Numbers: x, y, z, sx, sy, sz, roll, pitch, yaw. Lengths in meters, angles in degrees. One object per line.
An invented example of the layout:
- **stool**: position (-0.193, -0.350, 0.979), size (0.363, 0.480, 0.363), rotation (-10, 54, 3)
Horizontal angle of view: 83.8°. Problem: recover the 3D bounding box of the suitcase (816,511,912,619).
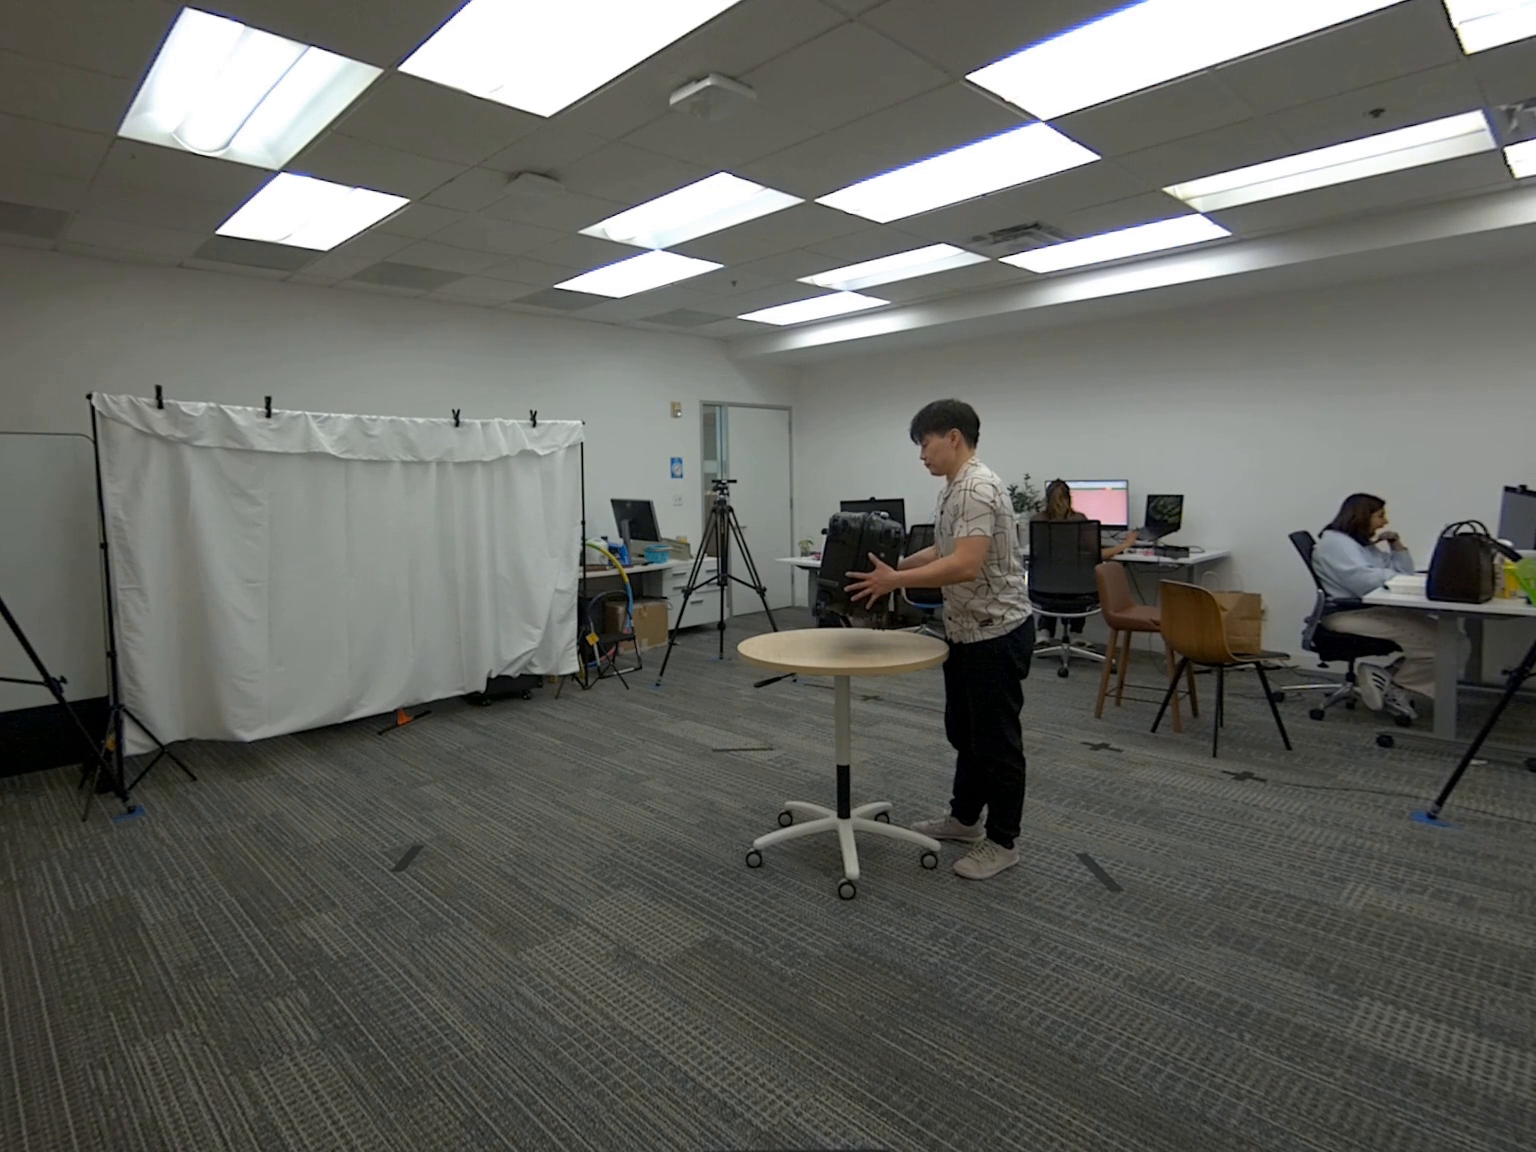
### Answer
- **suitcase**: position (0.337, -0.057, 3.129), size (0.251, 0.373, 0.546), rotation (10, 7, 8)
